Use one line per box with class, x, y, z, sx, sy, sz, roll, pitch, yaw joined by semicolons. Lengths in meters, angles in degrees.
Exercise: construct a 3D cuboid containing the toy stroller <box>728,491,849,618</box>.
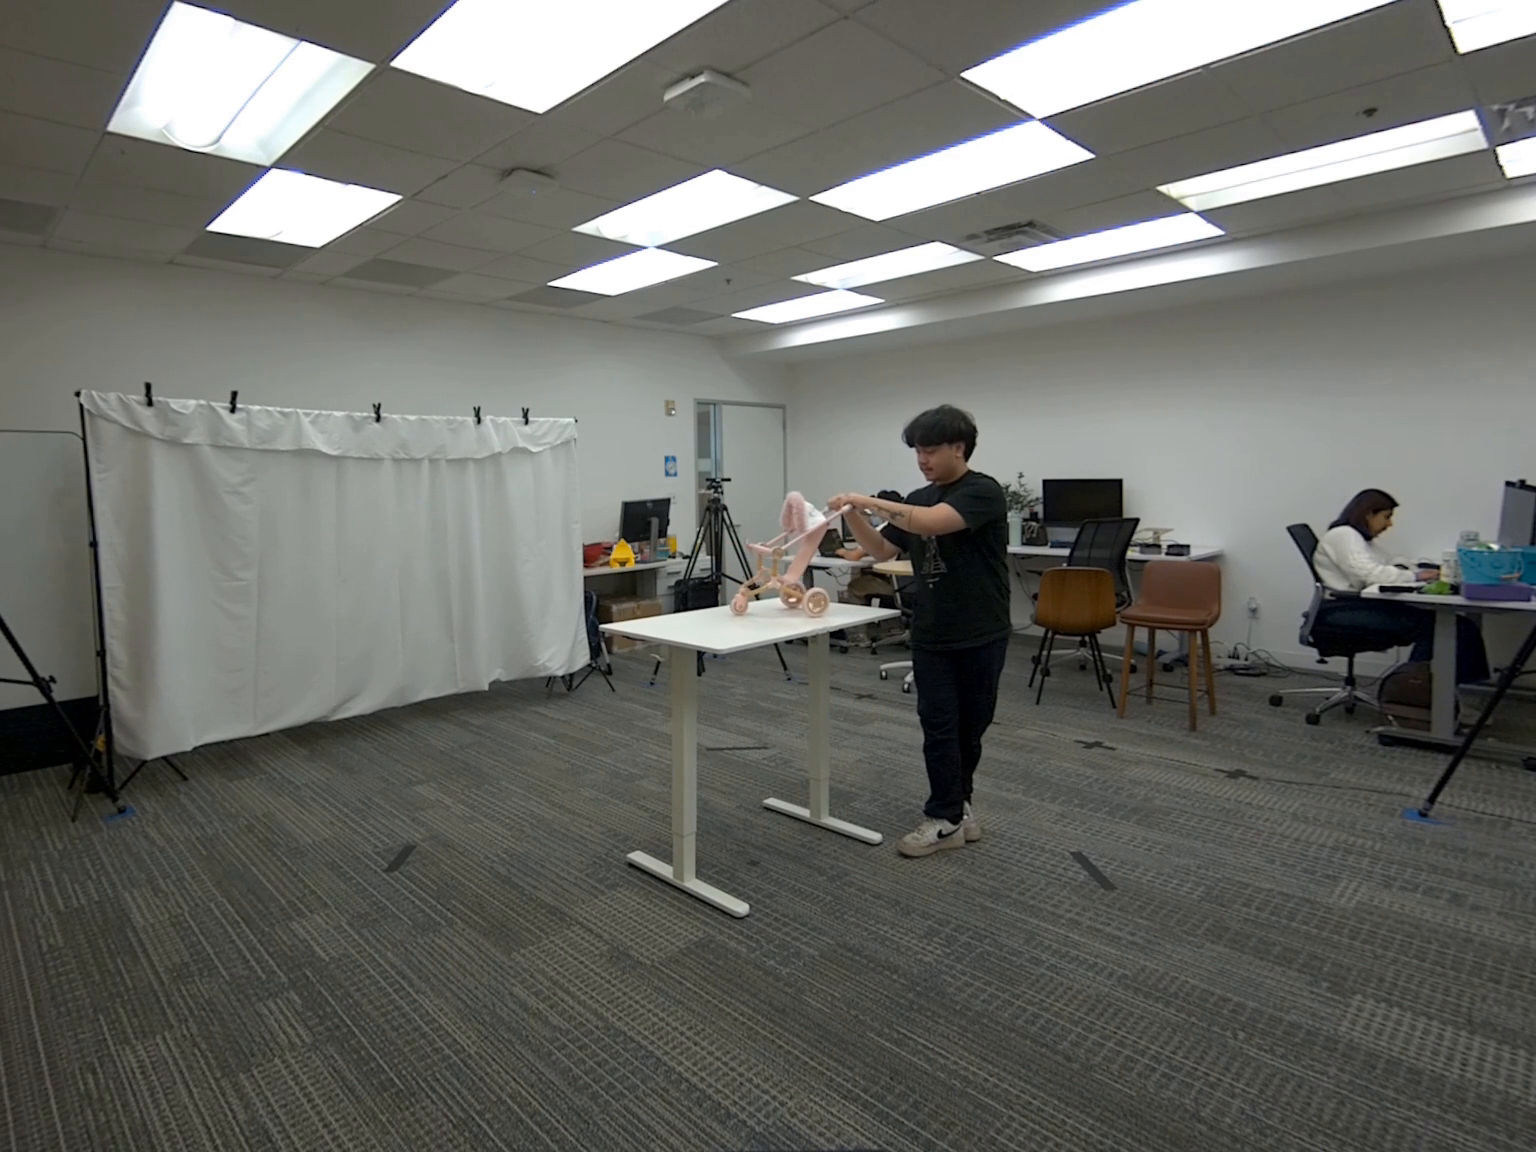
toy stroller;0.081;-0.081;3.240;0.337;0.535;0.285;15;1;-12
